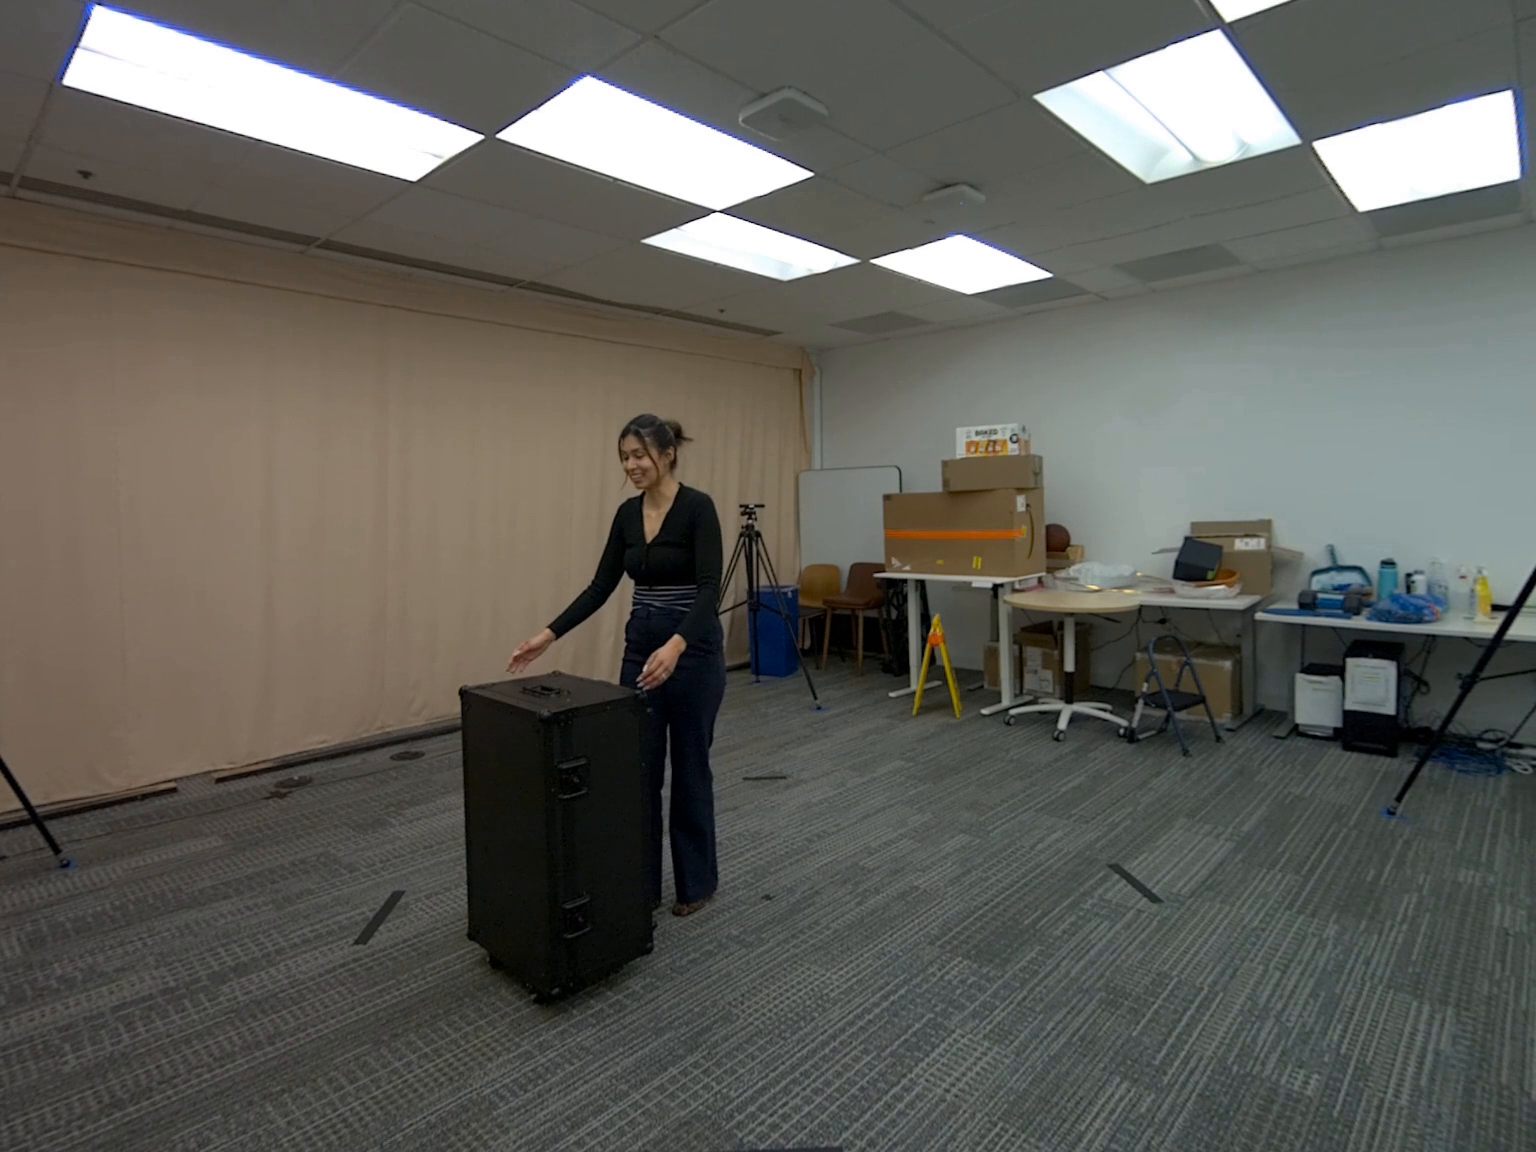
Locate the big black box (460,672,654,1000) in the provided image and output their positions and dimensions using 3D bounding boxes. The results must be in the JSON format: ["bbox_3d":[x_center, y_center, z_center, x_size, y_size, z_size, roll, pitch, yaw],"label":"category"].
[{"bbox_3d":[-0.639,0.768,2.544,0.384,0.860,0.538,-3,4,-45],"label":"big black box"}]
